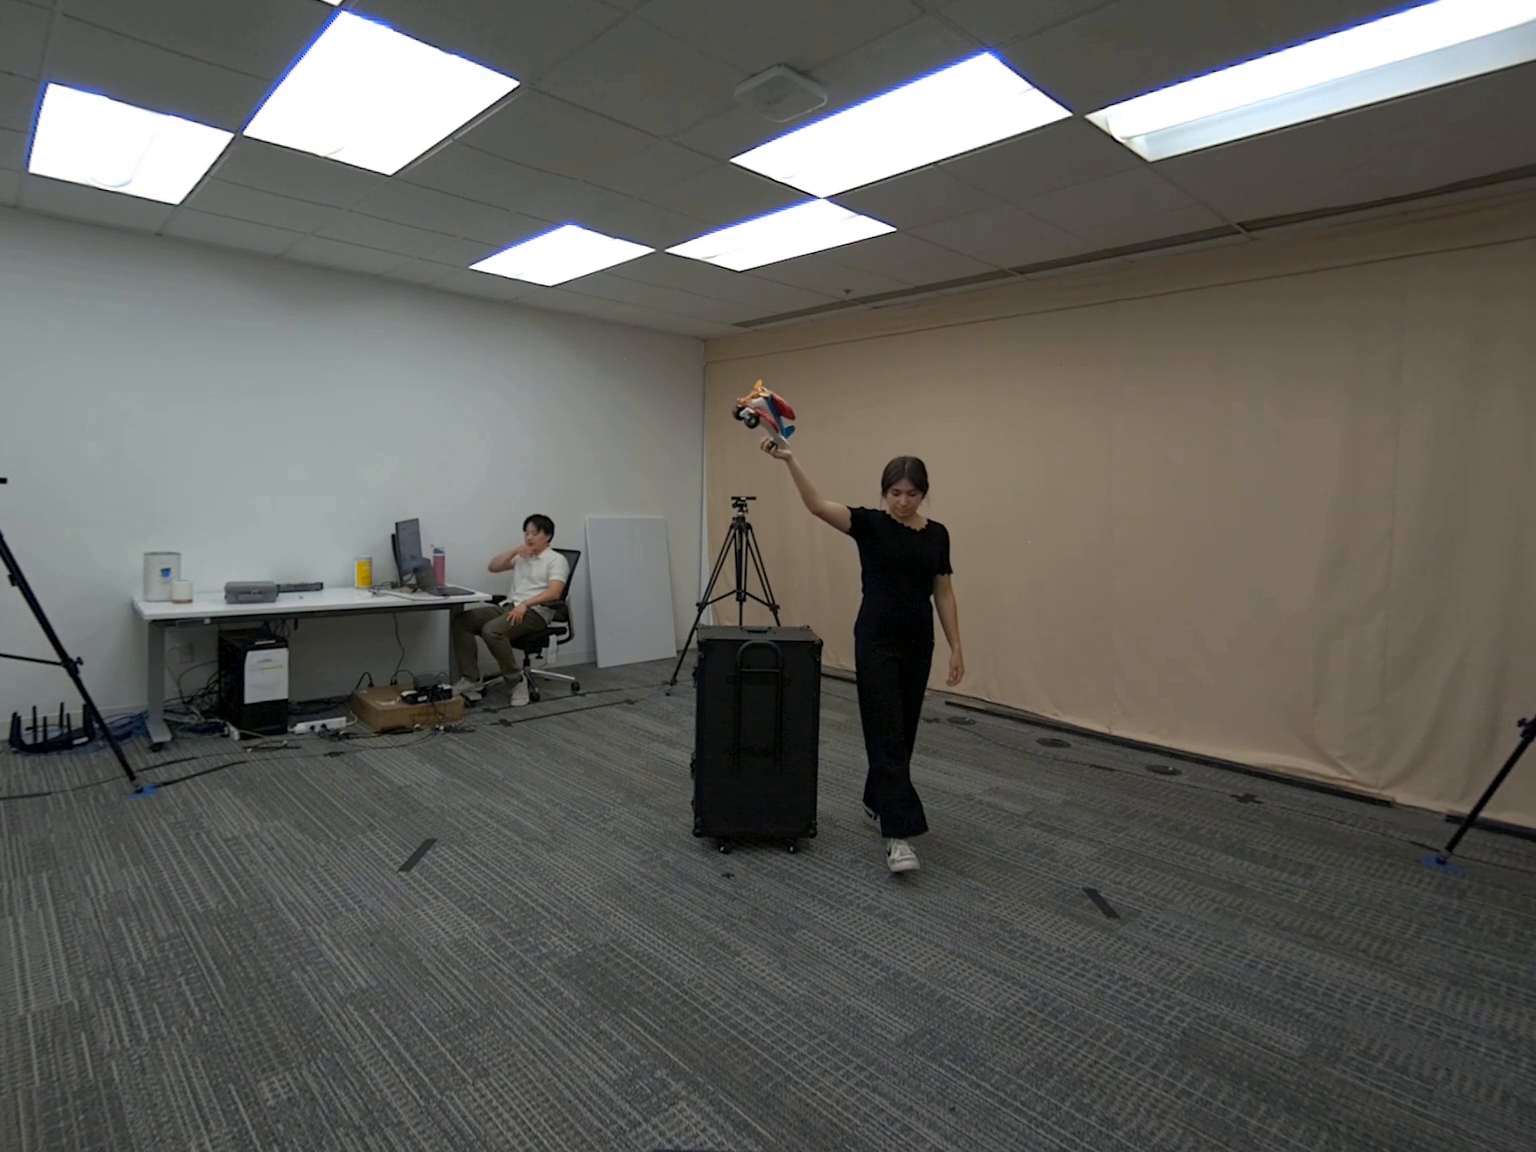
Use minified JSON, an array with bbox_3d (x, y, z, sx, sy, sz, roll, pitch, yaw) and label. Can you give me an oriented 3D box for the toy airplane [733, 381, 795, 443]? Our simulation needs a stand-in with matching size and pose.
[{"bbox_3d":[-0.023,-0.586,3.098,0.256,0.156,0.254,40,1,18],"label":"toy airplane"}]
